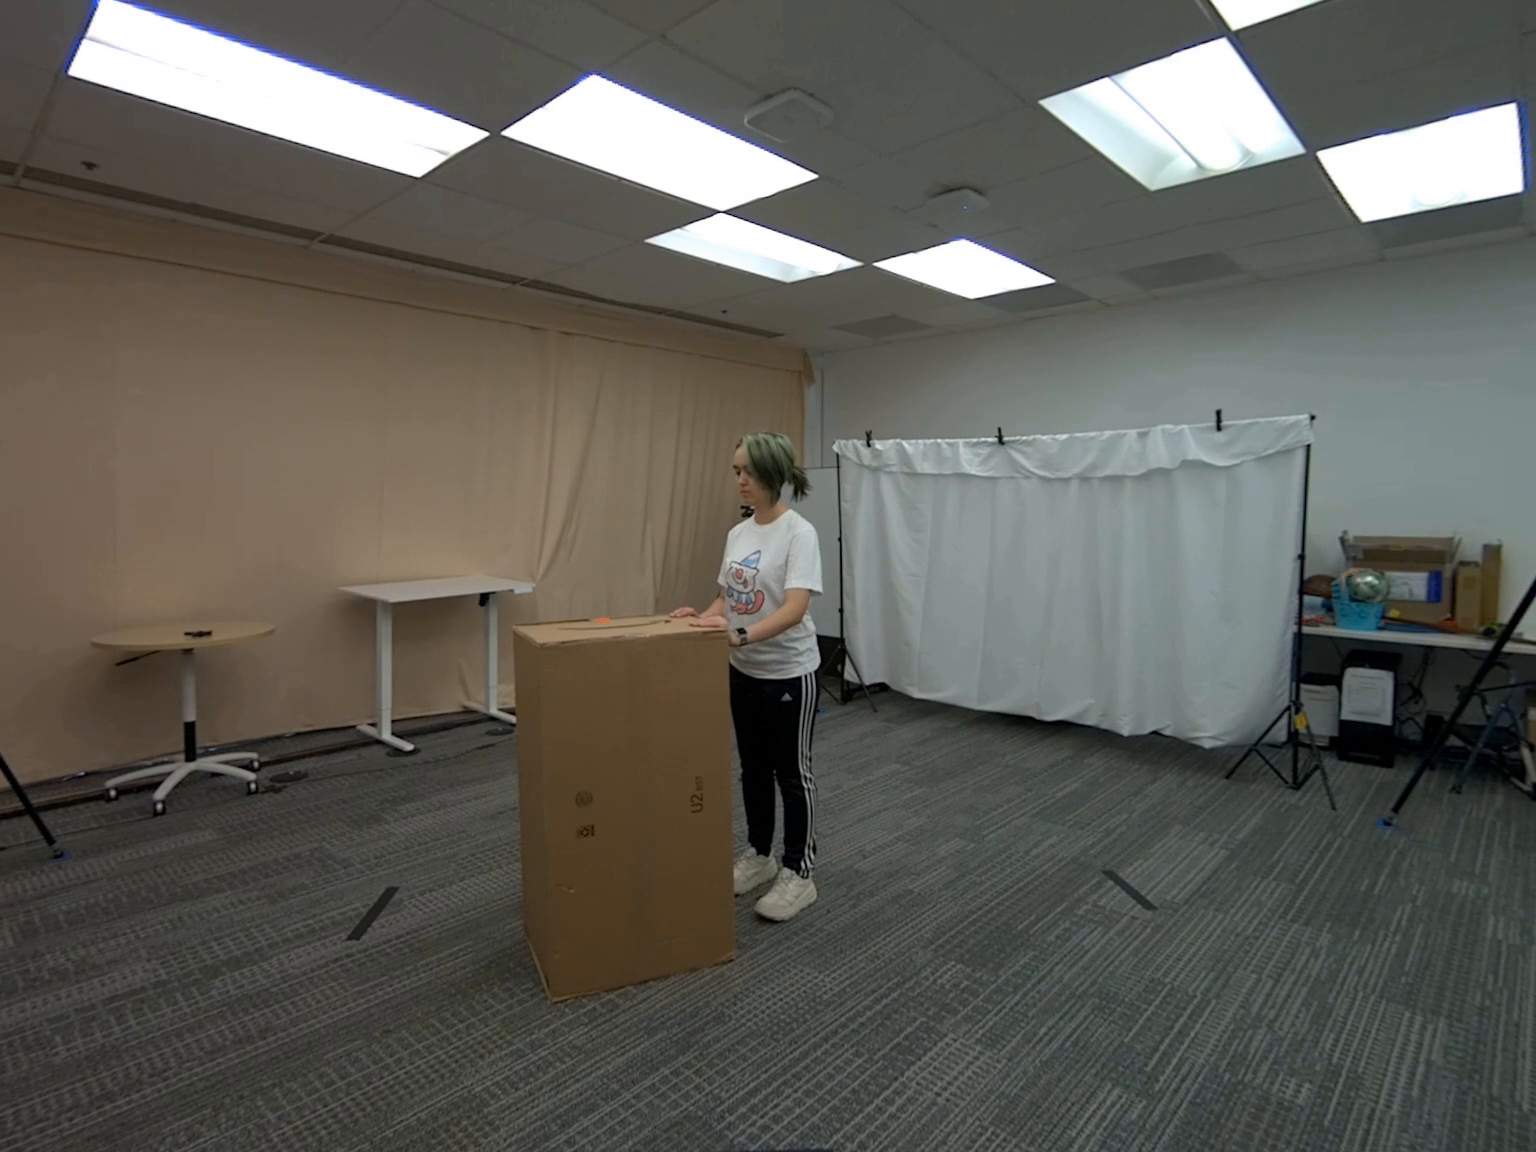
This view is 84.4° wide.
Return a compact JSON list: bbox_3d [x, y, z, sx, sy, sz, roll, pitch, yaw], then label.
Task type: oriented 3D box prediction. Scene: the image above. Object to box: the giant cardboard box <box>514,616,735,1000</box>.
[{"bbox_3d":[-0.461,0.669,2.632,0.570,1.024,0.458,-3,4,-25],"label":"giant cardboard box"}]
